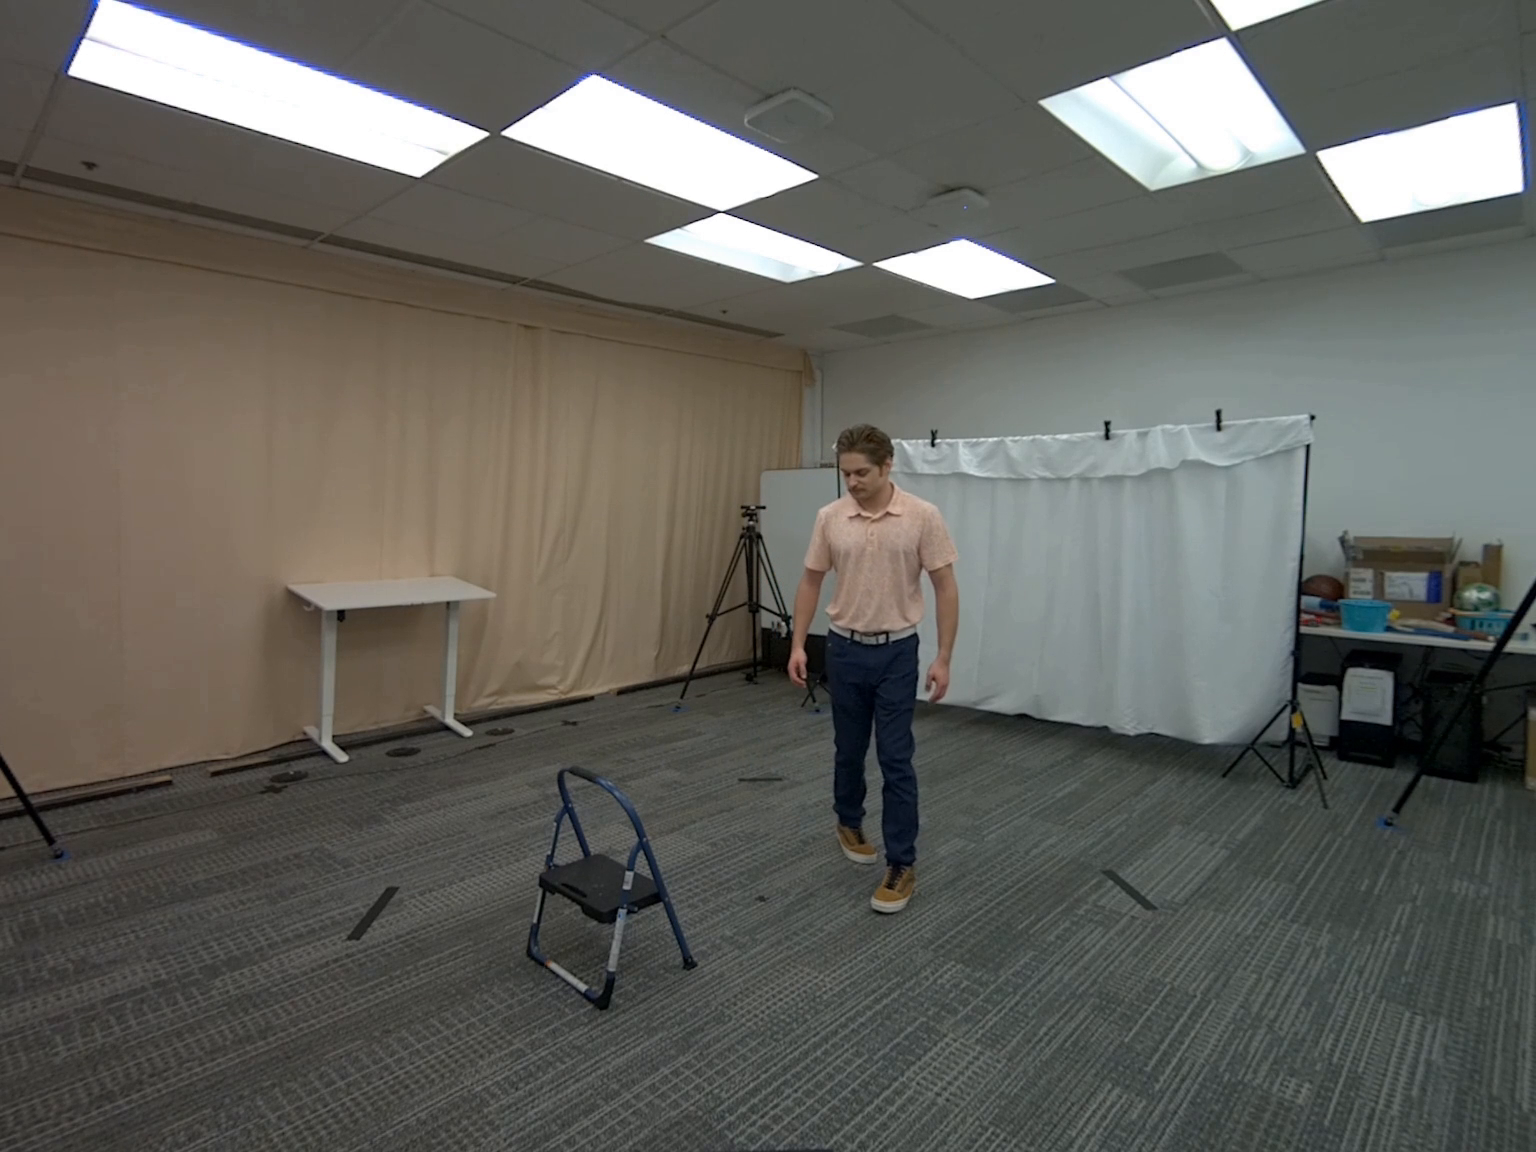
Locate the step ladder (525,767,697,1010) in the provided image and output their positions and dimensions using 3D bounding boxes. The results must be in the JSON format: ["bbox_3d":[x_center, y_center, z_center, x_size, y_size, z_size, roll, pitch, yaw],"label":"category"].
[{"bbox_3d":[-0.488,0.888,2.568,0.445,0.605,0.338,1,3,44],"label":"step ladder"}]
